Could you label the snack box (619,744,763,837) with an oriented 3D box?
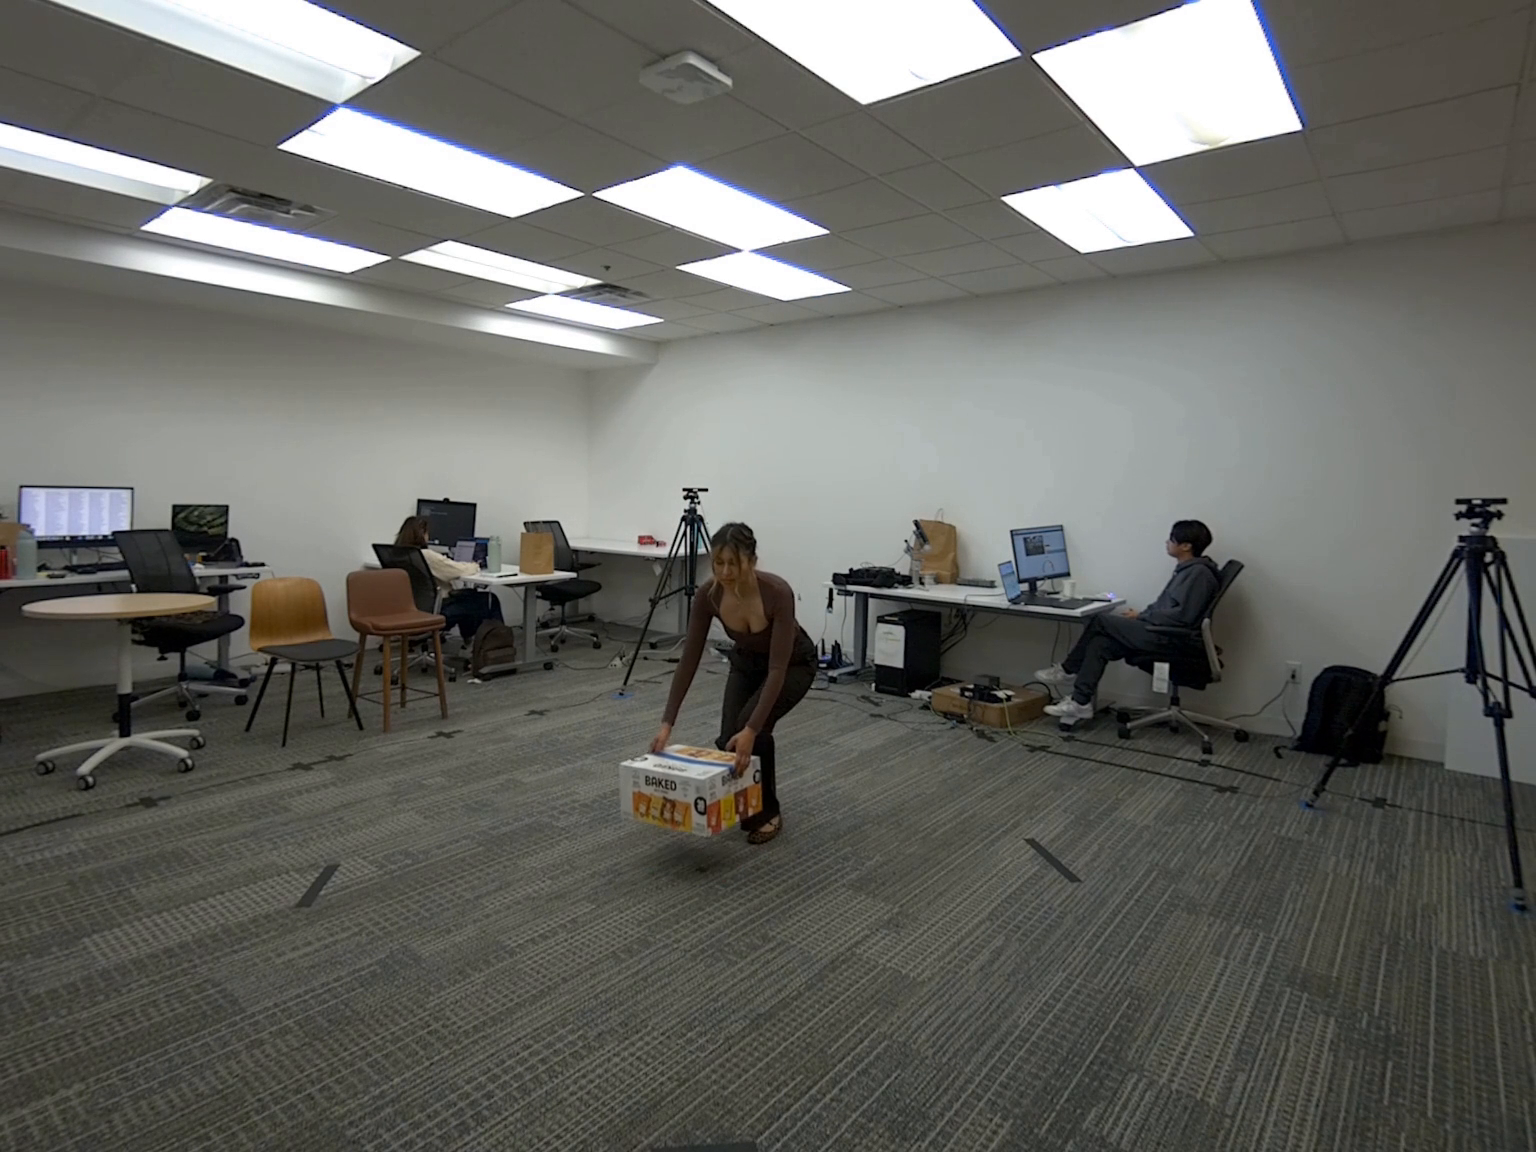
[{"bbox_3d":[-0.299,0.779,3.177,0.417,0.205,0.330,0,2,35],"label":"snack box"}]
